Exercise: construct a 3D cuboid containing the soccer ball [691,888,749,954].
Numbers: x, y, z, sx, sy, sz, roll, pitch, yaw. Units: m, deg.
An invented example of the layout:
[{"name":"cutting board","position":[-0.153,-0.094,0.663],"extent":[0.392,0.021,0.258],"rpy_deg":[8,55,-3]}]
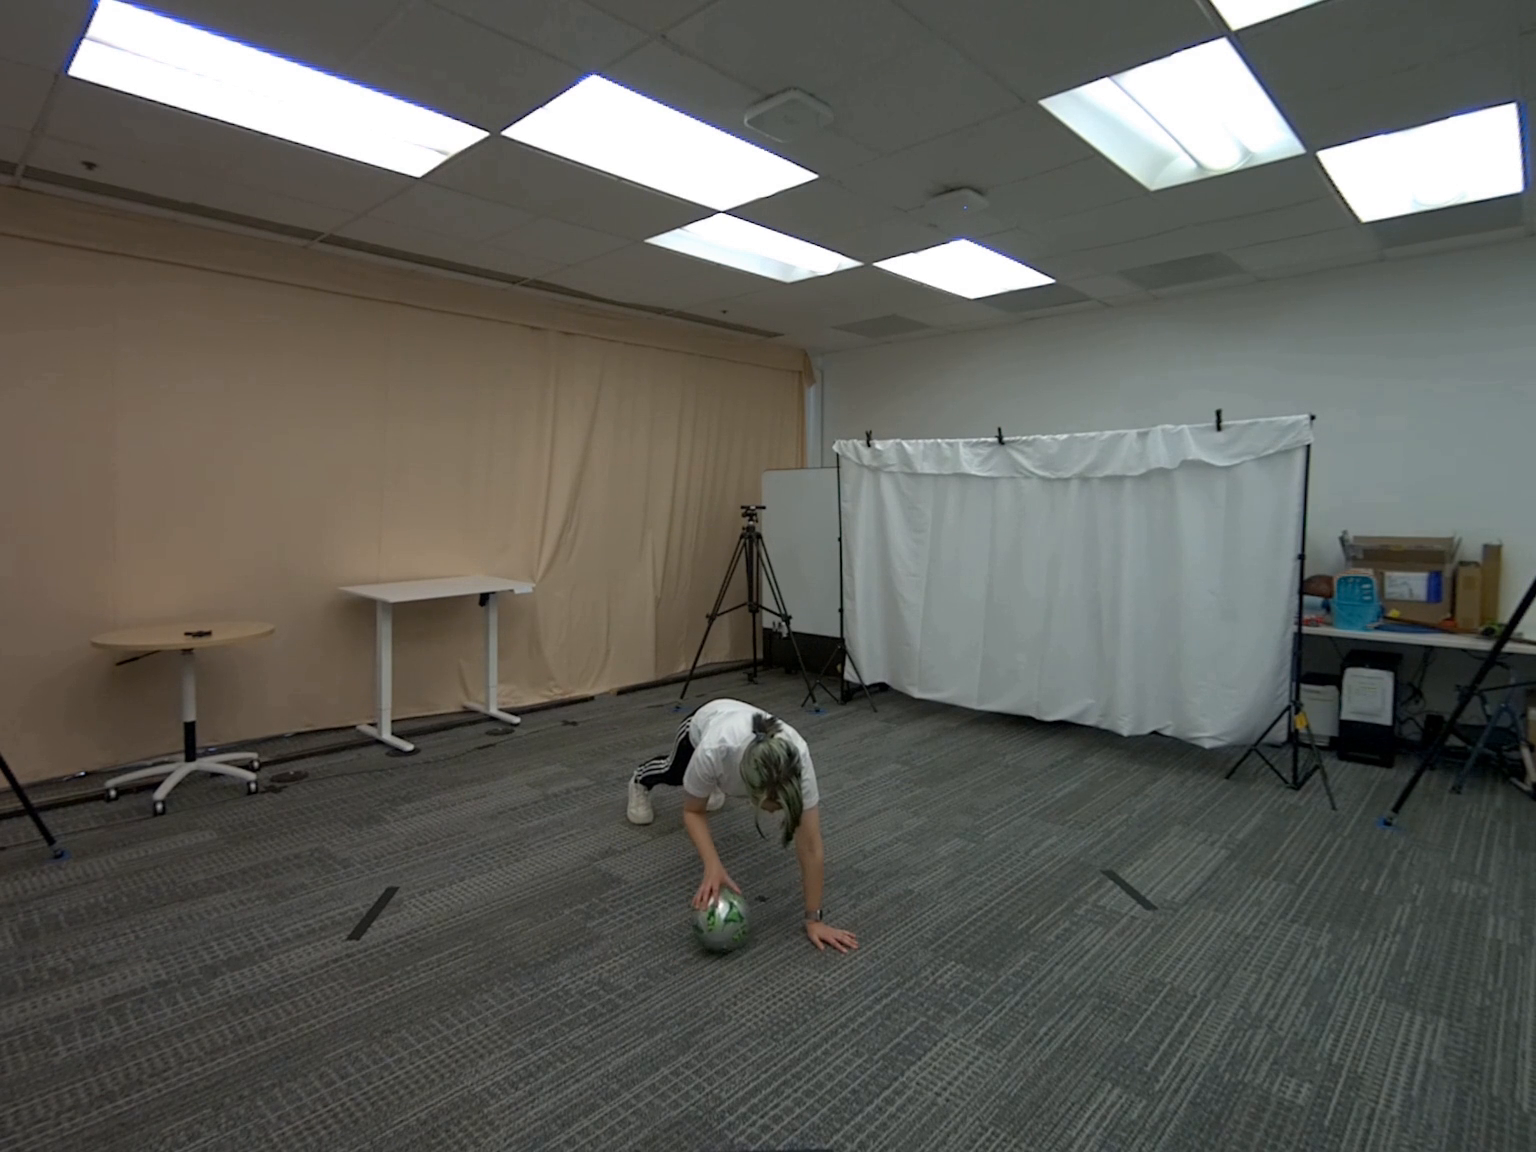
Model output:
[{"name":"soccer ball","position":[-0.134,1.073,2.642],"extent":[0.187,0.187,0.188],"rpy_deg":[0,4,-2]}]
